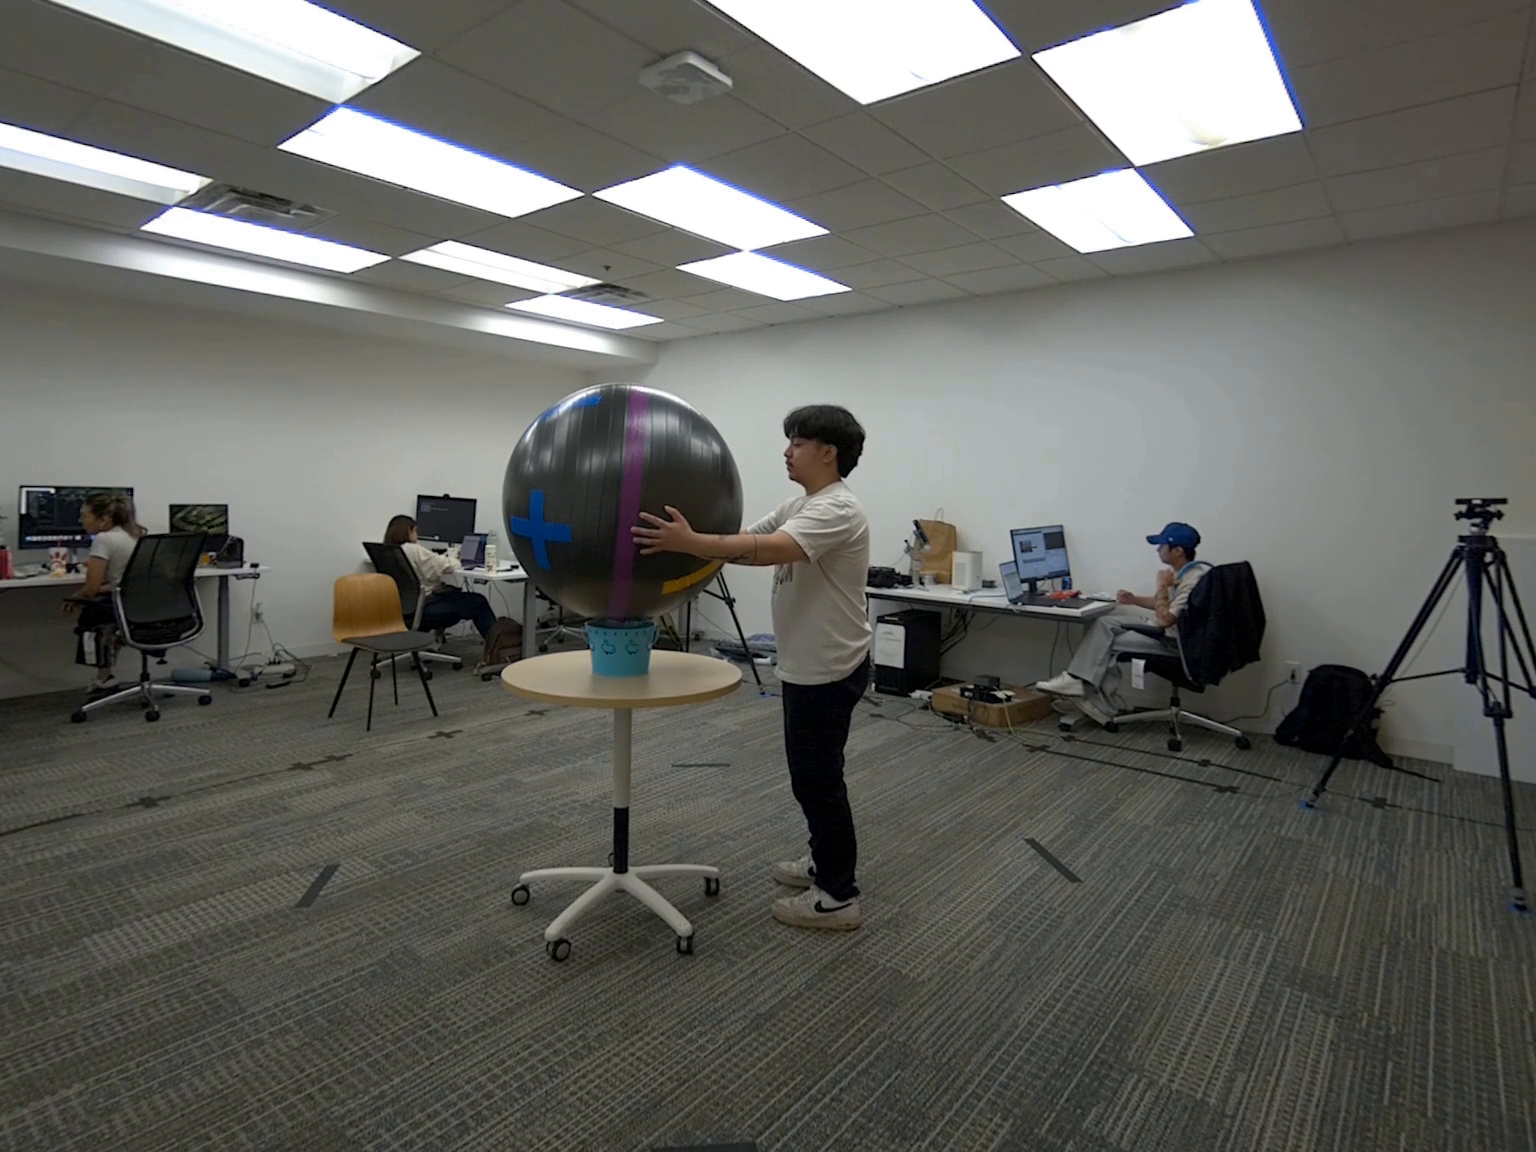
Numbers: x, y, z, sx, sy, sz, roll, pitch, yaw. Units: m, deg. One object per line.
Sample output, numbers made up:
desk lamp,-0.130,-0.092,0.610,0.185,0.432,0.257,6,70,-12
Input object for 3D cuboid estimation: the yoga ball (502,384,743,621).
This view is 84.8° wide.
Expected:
yoga ball,-0.474,-0.234,2.725,0.757,0.755,0.762,1,4,-2
